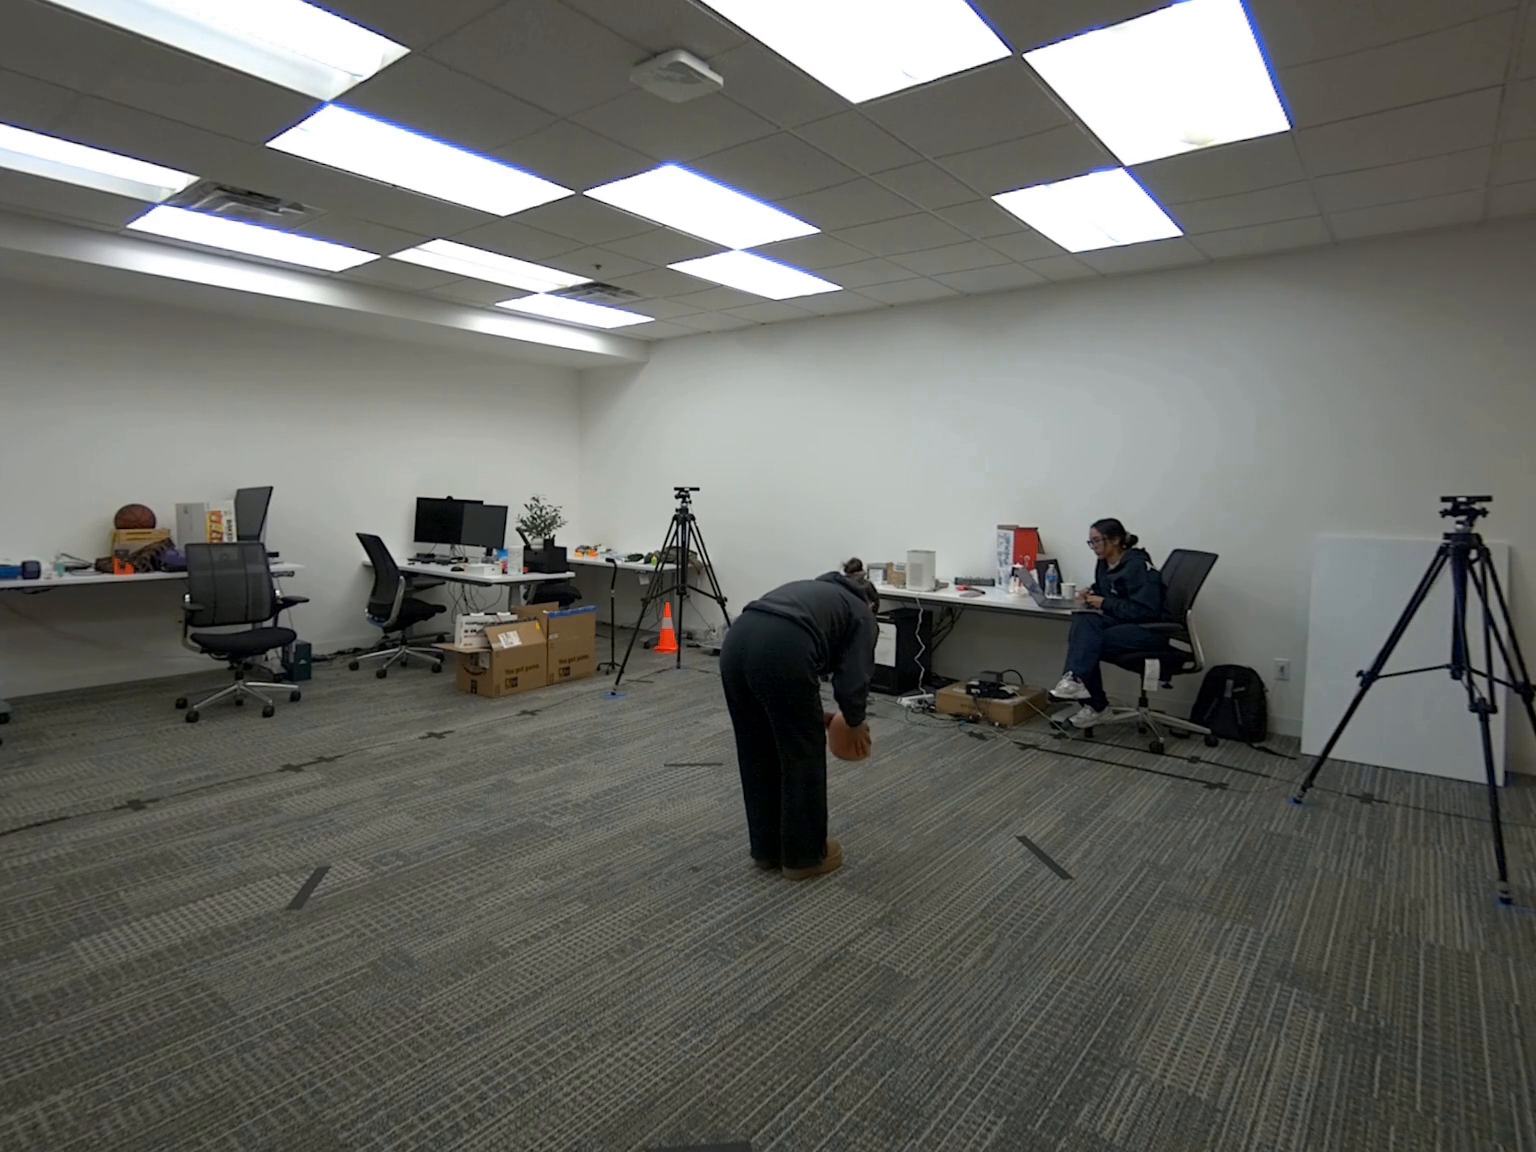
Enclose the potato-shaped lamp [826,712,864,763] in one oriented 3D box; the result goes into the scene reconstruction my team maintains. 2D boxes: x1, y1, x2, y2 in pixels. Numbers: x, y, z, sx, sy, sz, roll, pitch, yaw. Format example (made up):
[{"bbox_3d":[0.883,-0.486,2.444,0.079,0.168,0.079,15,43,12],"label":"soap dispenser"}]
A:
[{"bbox_3d":[0.316,0.614,3.350,0.167,0.194,0.171,-12,25,-33],"label":"potato-shaped lamp"}]
